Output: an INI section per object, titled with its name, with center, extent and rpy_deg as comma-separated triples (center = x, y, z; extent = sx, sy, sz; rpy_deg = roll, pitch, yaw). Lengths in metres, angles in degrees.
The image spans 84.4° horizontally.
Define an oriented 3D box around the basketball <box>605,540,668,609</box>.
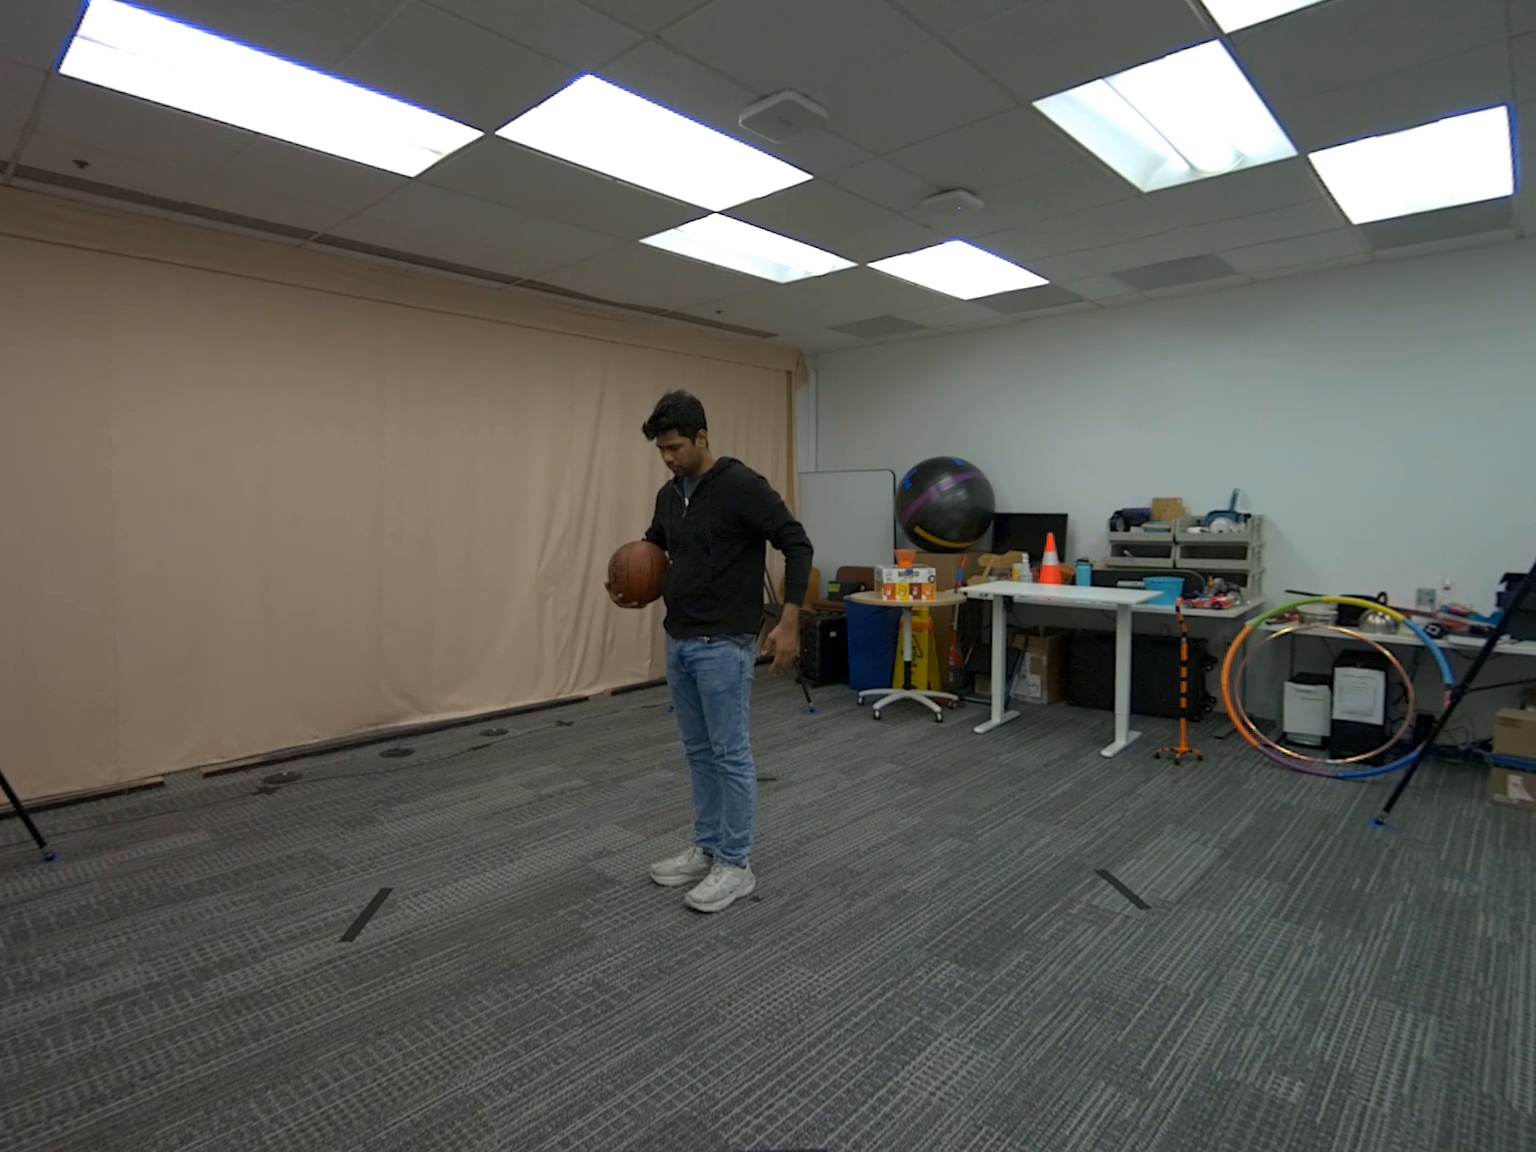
[basketball]
center = -0.464, -0.018, 3.140
extent = 0.236, 0.235, 0.237
rpy_deg = 0, 4, -2
